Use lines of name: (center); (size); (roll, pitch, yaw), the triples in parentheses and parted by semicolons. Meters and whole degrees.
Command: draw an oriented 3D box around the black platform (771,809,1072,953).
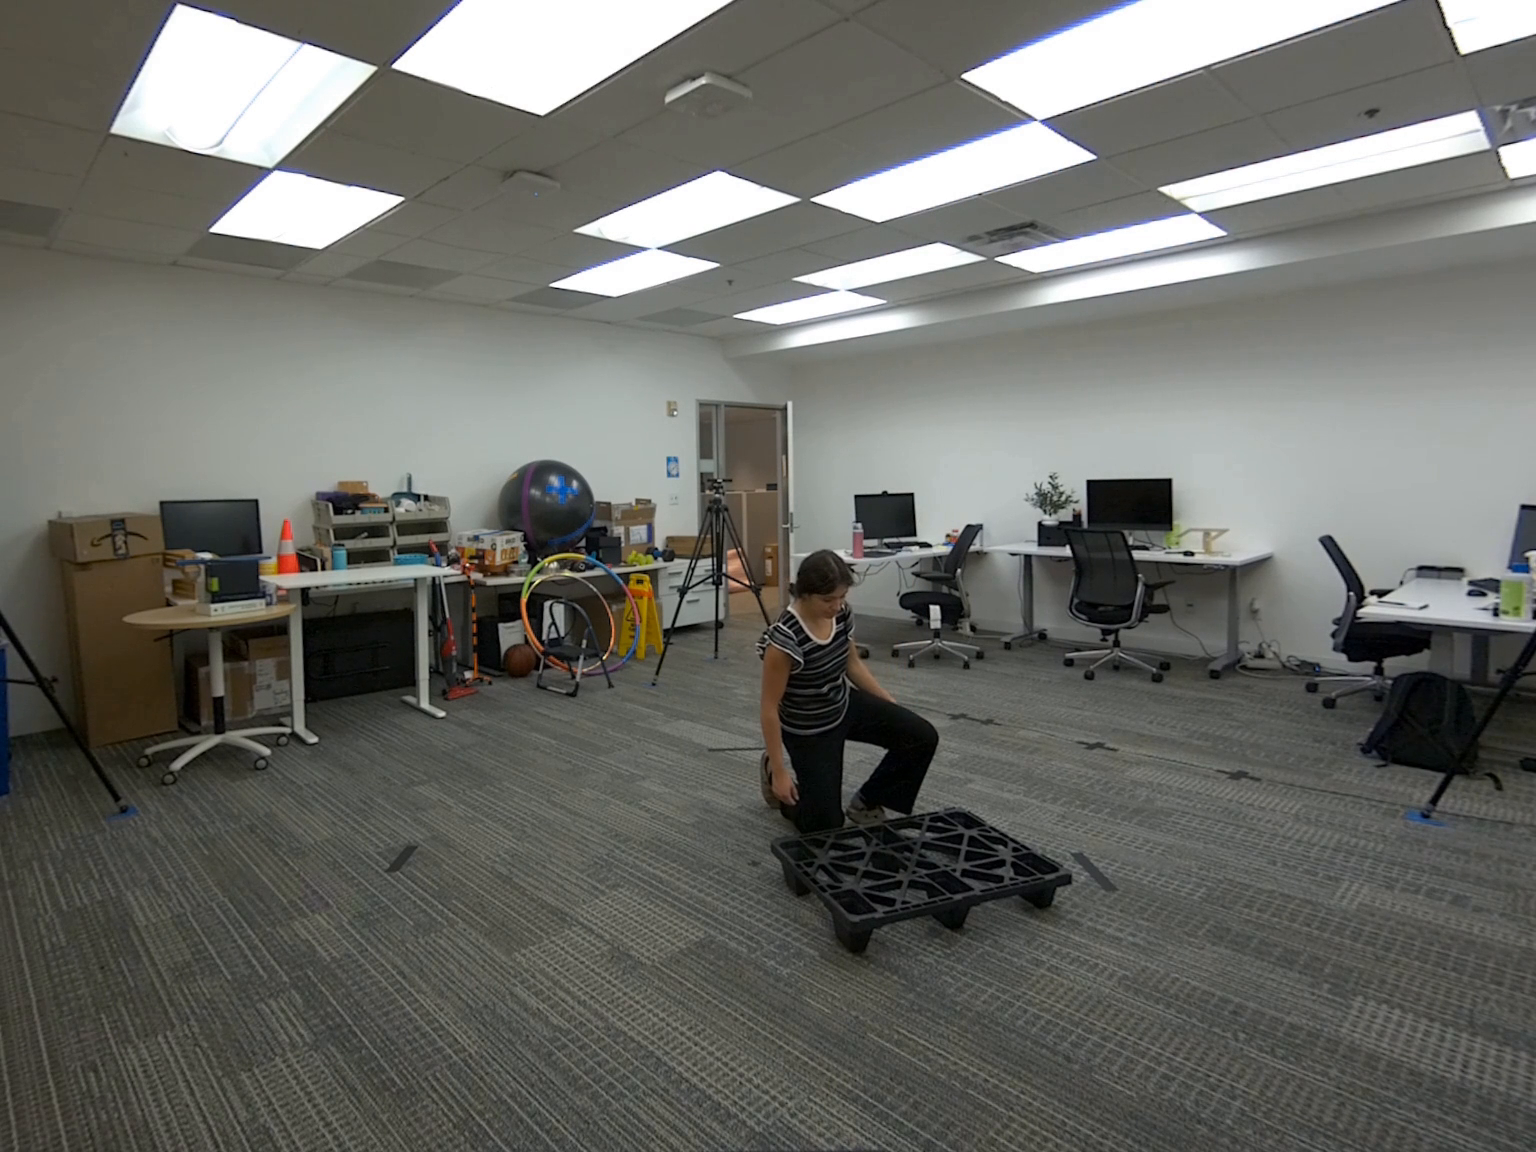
black platform: (0.493, 0.997, 2.847); (0.791, 0.142, 0.619); (-4, 8, -21)
